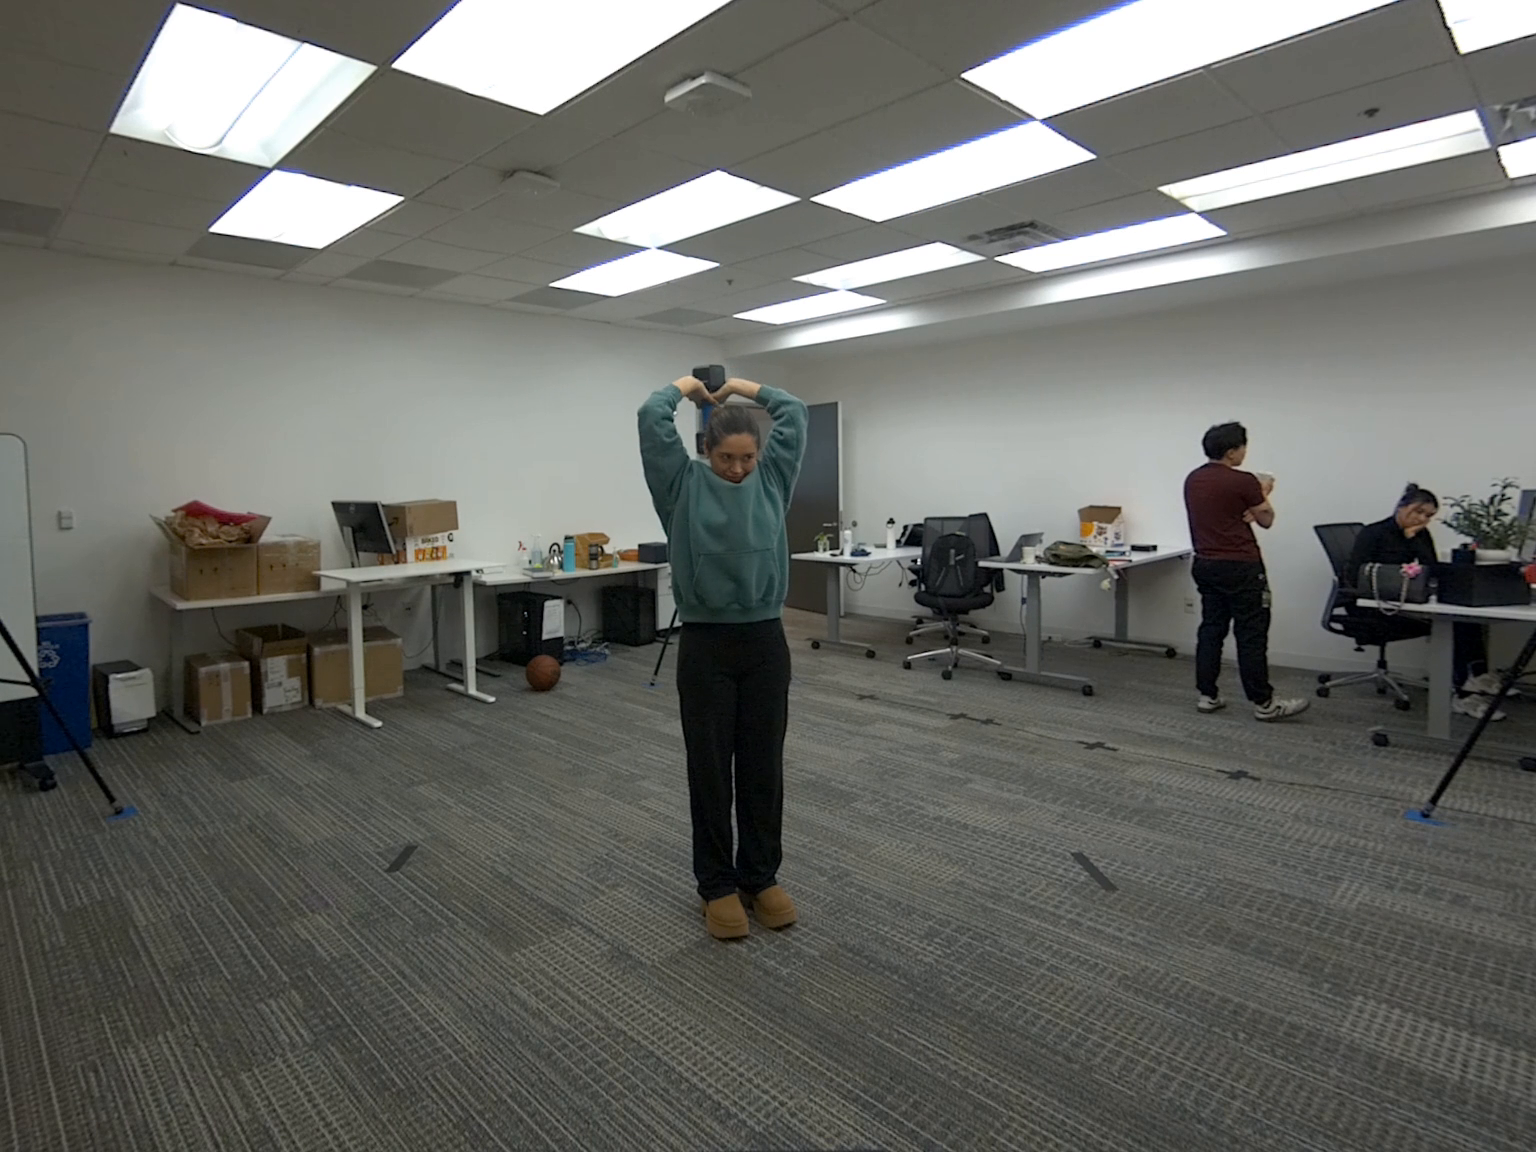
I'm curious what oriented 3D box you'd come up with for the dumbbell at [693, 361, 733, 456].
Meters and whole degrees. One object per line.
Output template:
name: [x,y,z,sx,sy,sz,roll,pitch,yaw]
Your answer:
dumbbell: [-0.181,-0.554,2.841,0.108,0.293,0.124,-4,3,-7]
